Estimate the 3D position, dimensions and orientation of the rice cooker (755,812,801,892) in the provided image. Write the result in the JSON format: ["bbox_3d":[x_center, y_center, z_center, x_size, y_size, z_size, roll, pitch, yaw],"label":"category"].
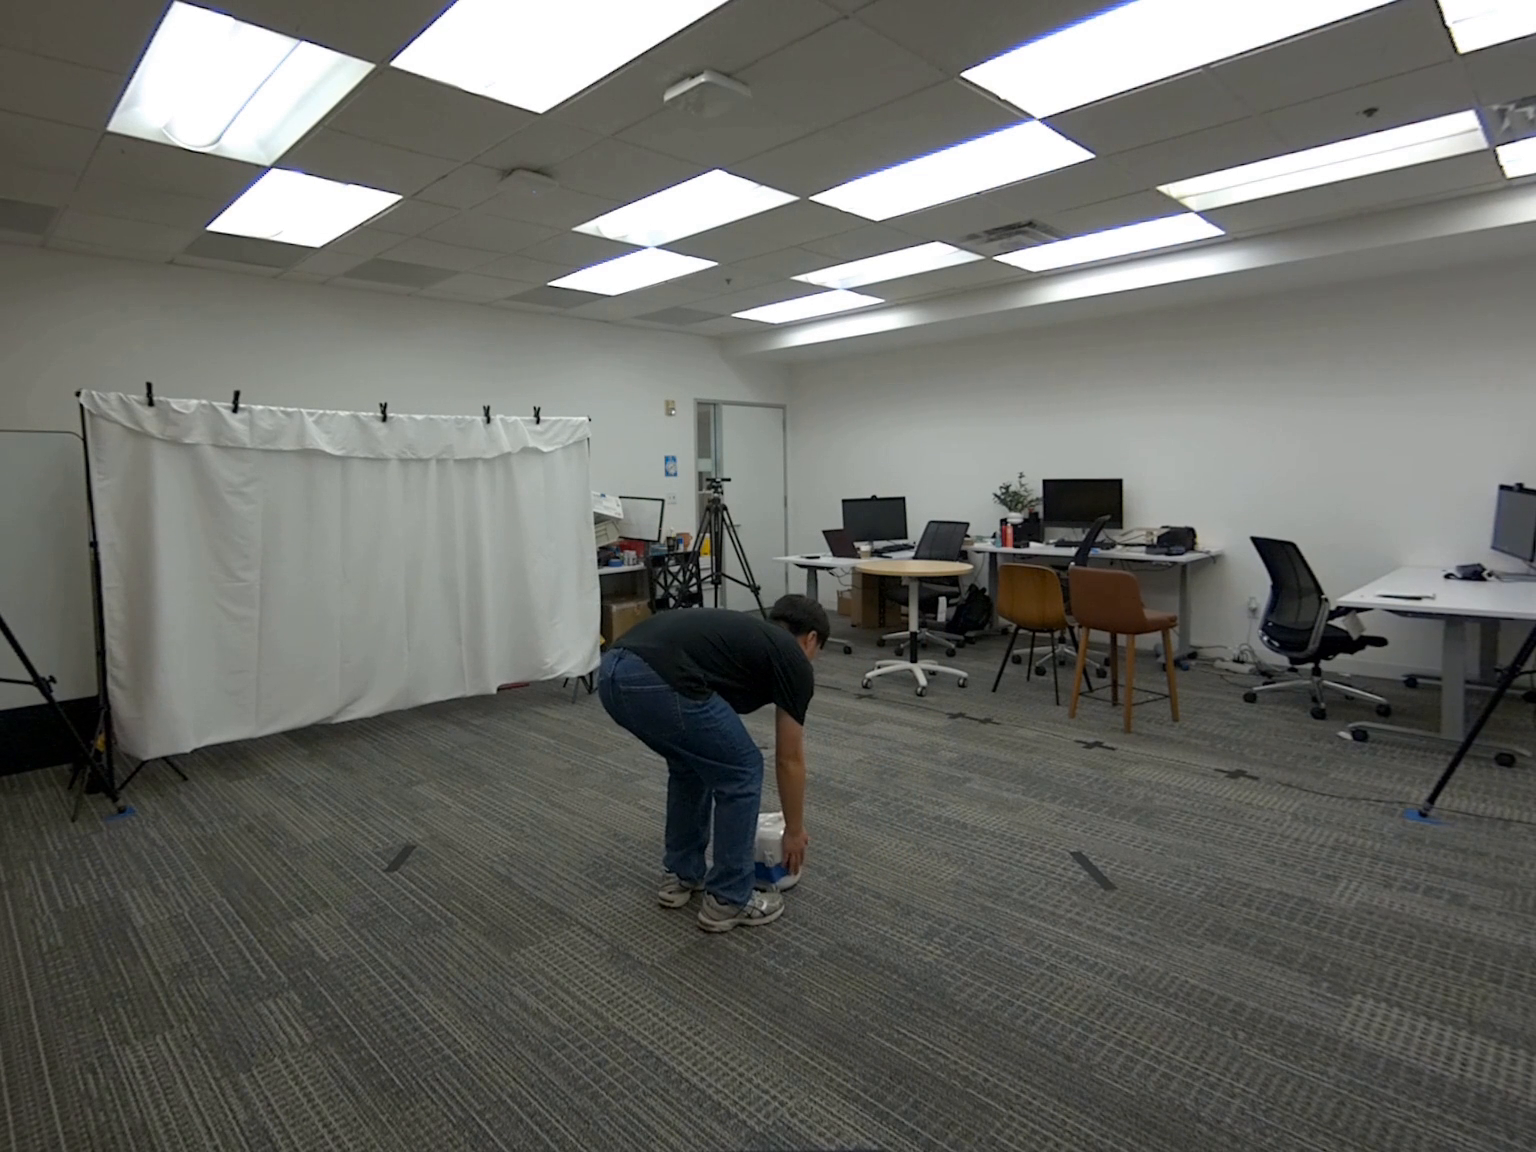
[{"bbox_3d":[0.014,0.928,2.958,0.215,0.231,0.224,-6,9,-42],"label":"rice cooker"}]
